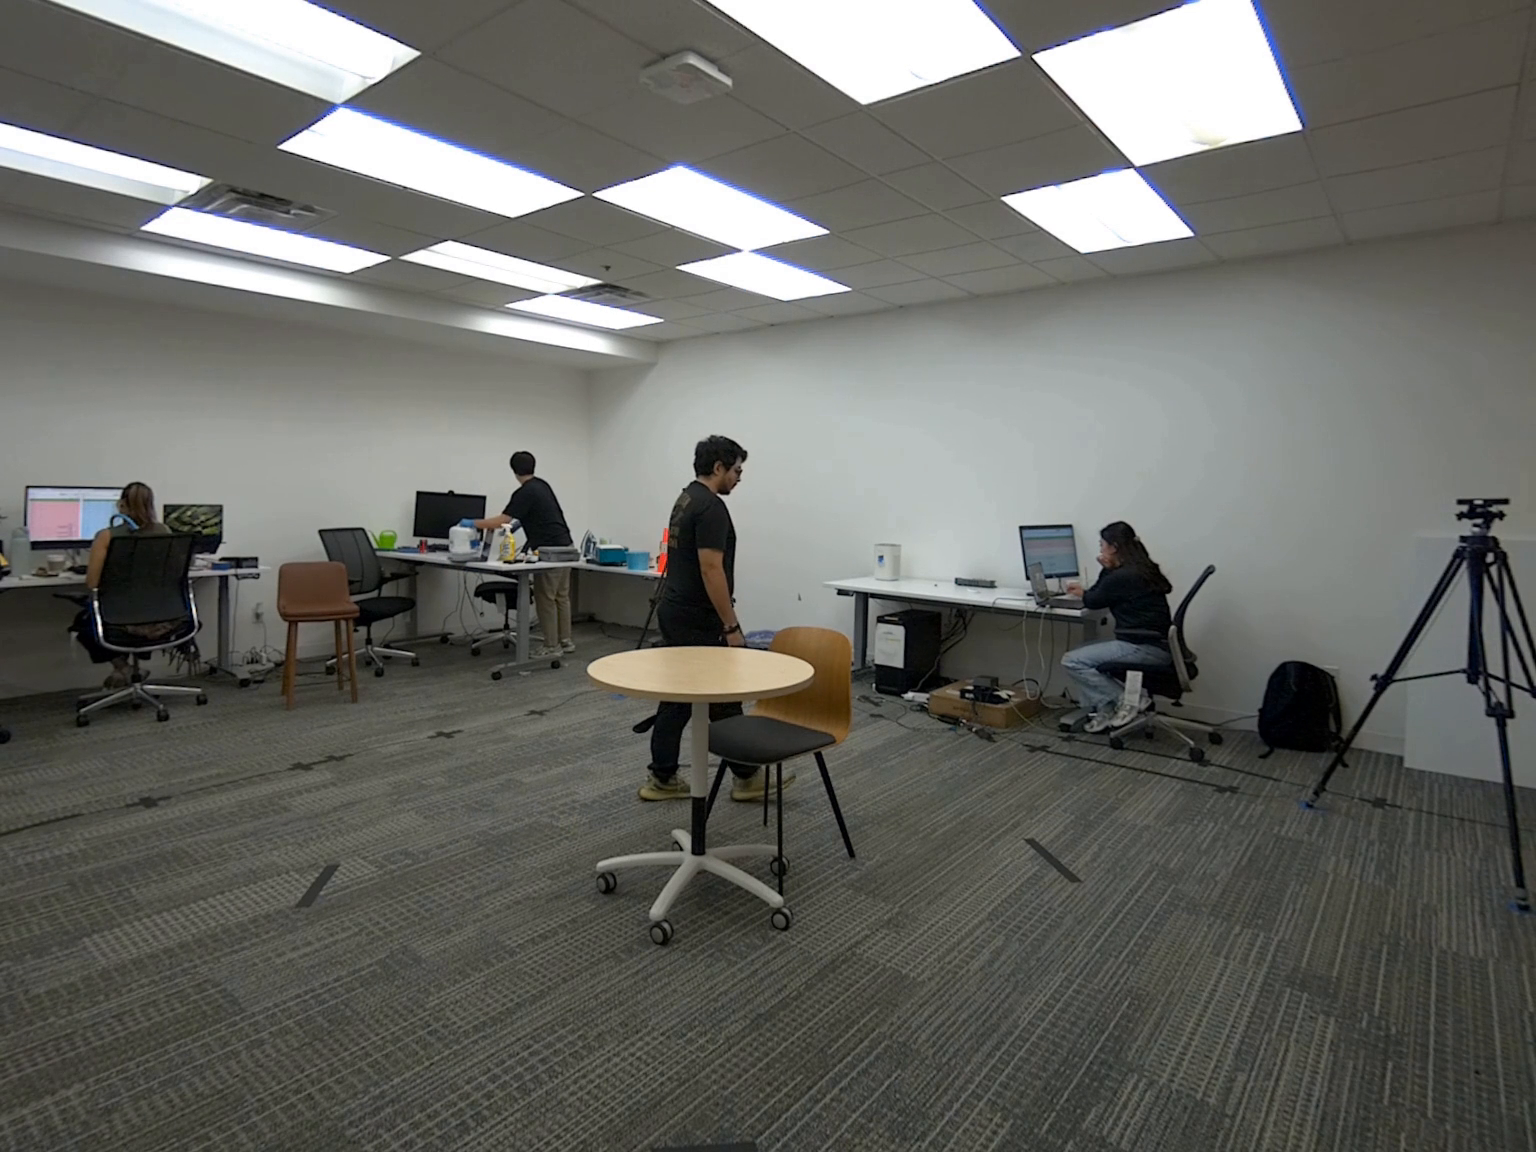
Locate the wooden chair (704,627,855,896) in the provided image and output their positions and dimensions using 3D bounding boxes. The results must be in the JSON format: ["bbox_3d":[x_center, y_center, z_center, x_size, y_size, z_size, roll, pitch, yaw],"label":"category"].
[{"bbox_3d":[0.009,0.634,3.192,0.494,0.877,0.505,5,0,42],"label":"wooden chair"}]
